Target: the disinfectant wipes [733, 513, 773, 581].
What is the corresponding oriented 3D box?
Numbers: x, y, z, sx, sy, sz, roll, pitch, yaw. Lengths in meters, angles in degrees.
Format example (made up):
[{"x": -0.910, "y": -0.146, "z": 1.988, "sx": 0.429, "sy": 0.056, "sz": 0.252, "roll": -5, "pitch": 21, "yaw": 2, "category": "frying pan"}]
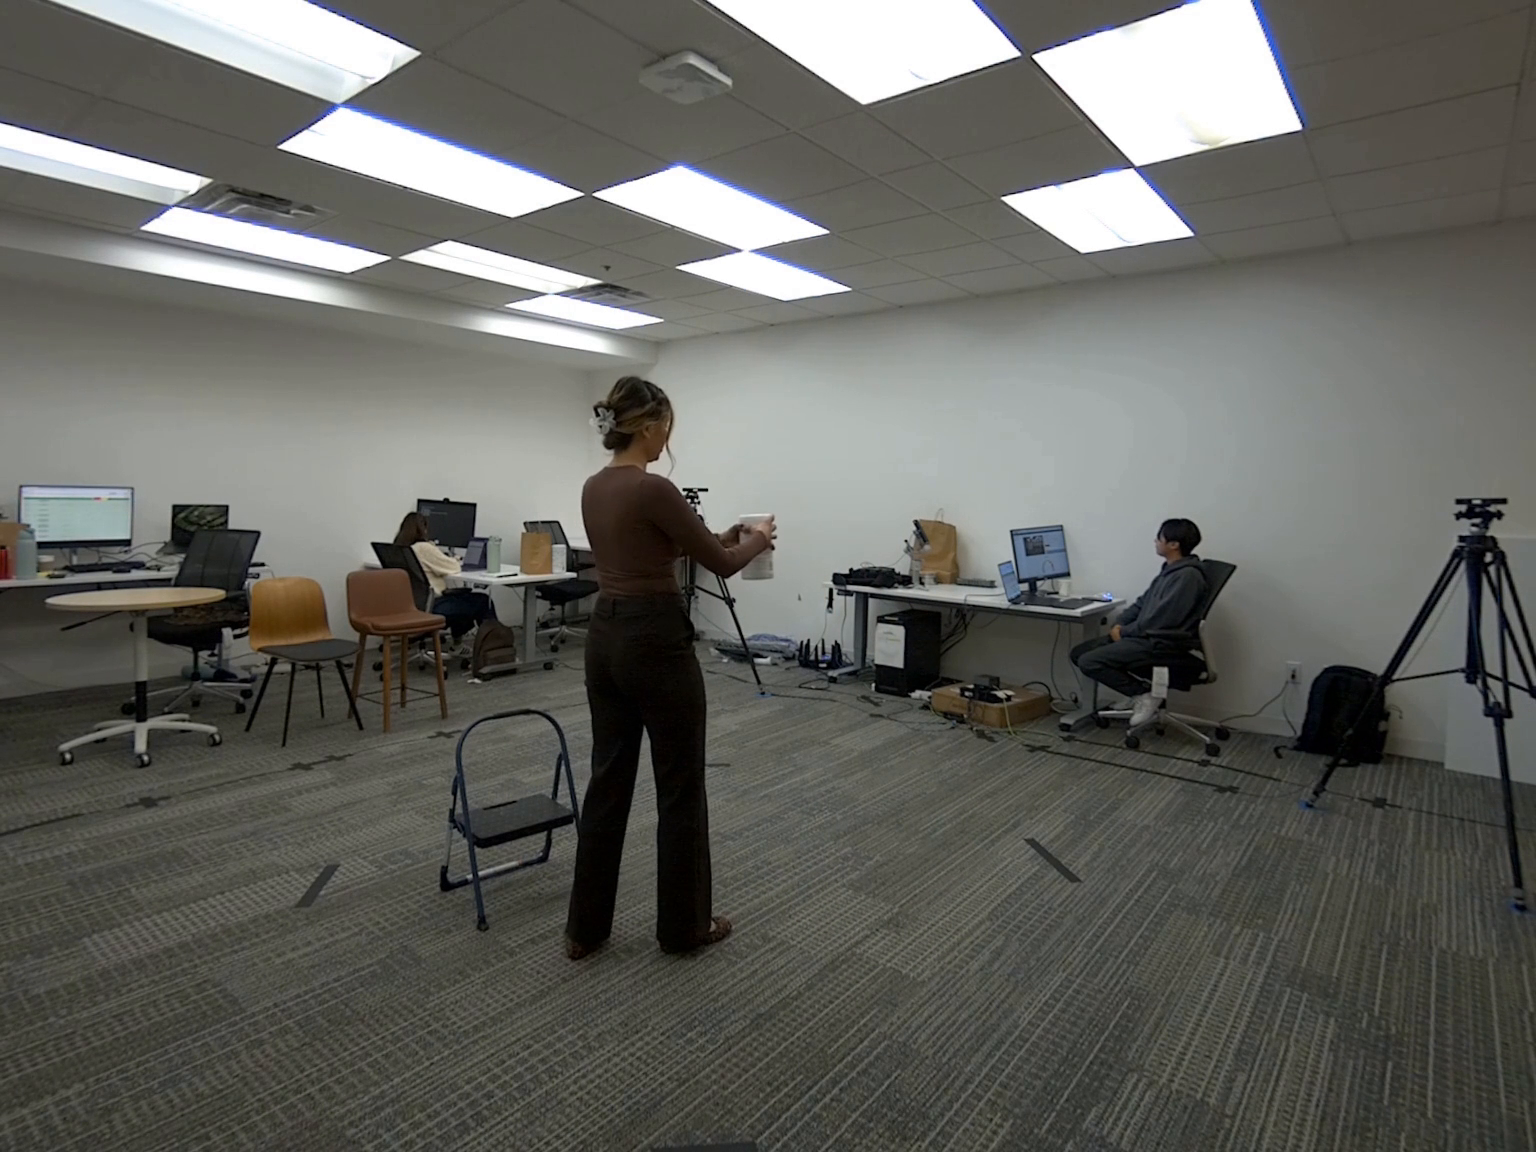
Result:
[{"x": -0.053, "y": -0.100, "z": 2.832, "sx": 0.118, "sy": 0.217, "sz": 0.118, "roll": -2, "pitch": 1, "yaw": -2, "category": "disinfectant wipes"}]
